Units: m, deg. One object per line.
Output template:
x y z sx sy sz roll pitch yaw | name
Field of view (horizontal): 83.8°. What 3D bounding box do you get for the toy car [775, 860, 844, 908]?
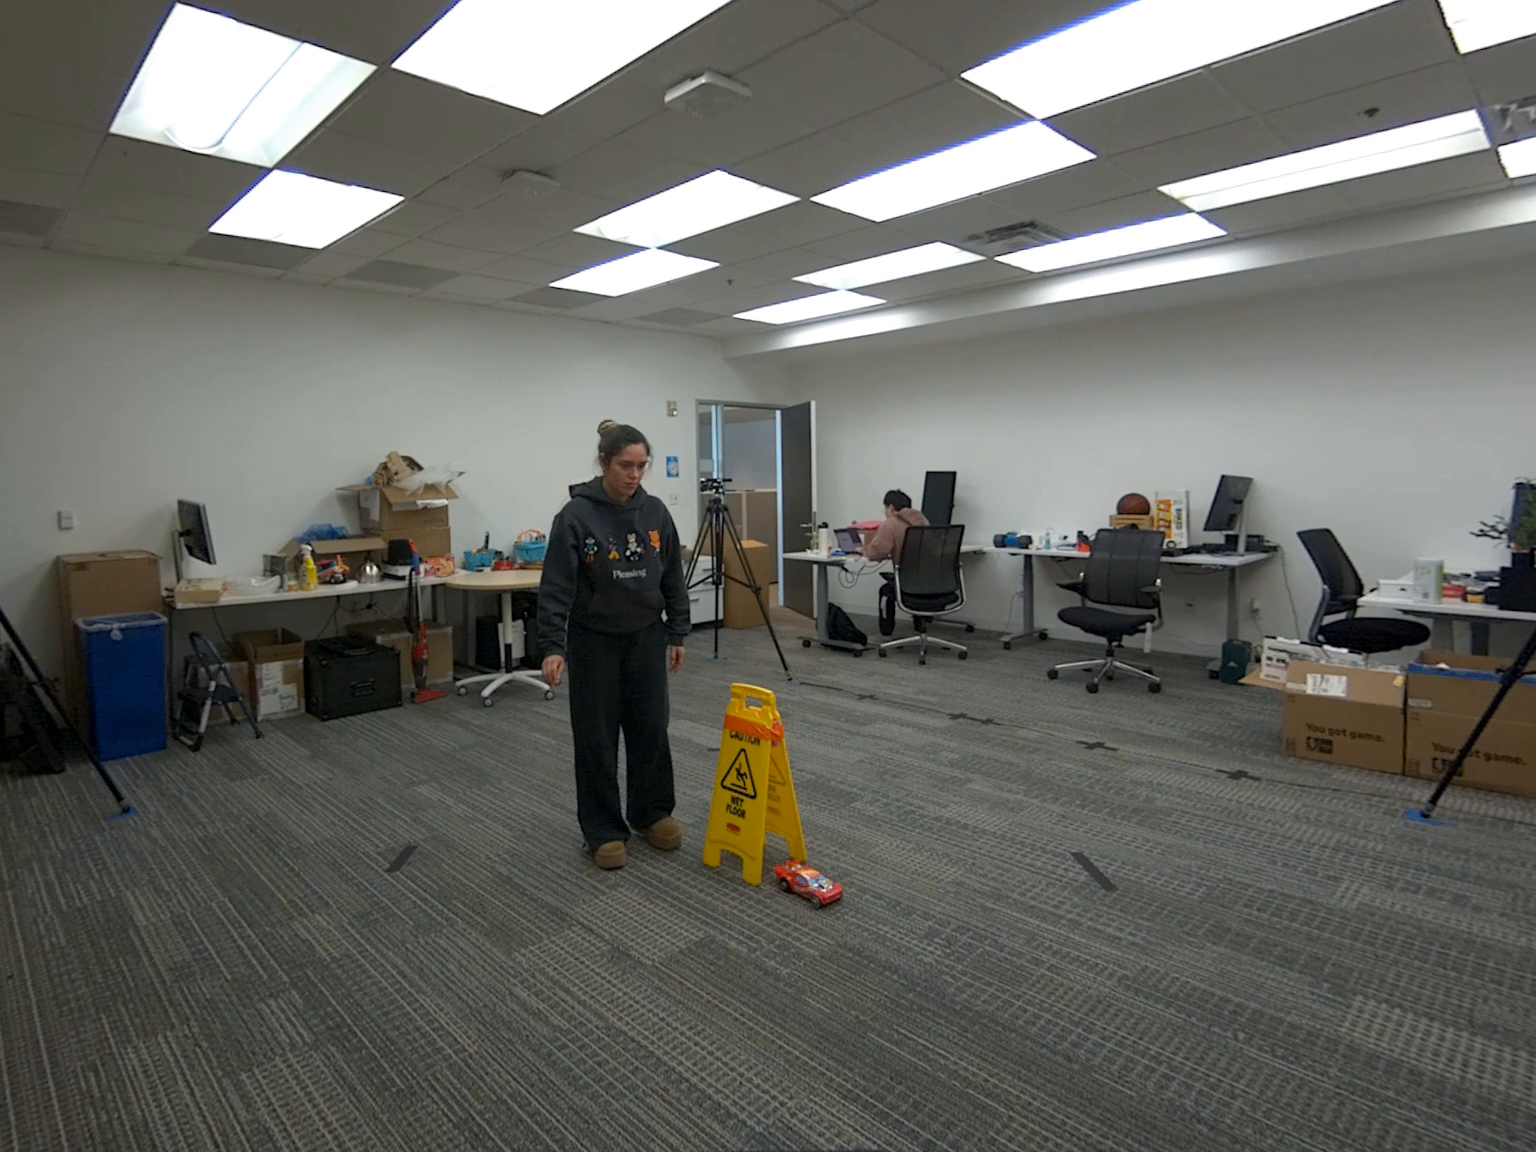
0.136 1.043 2.862 0.127 0.082 0.264 -7 19 -40 | toy car
